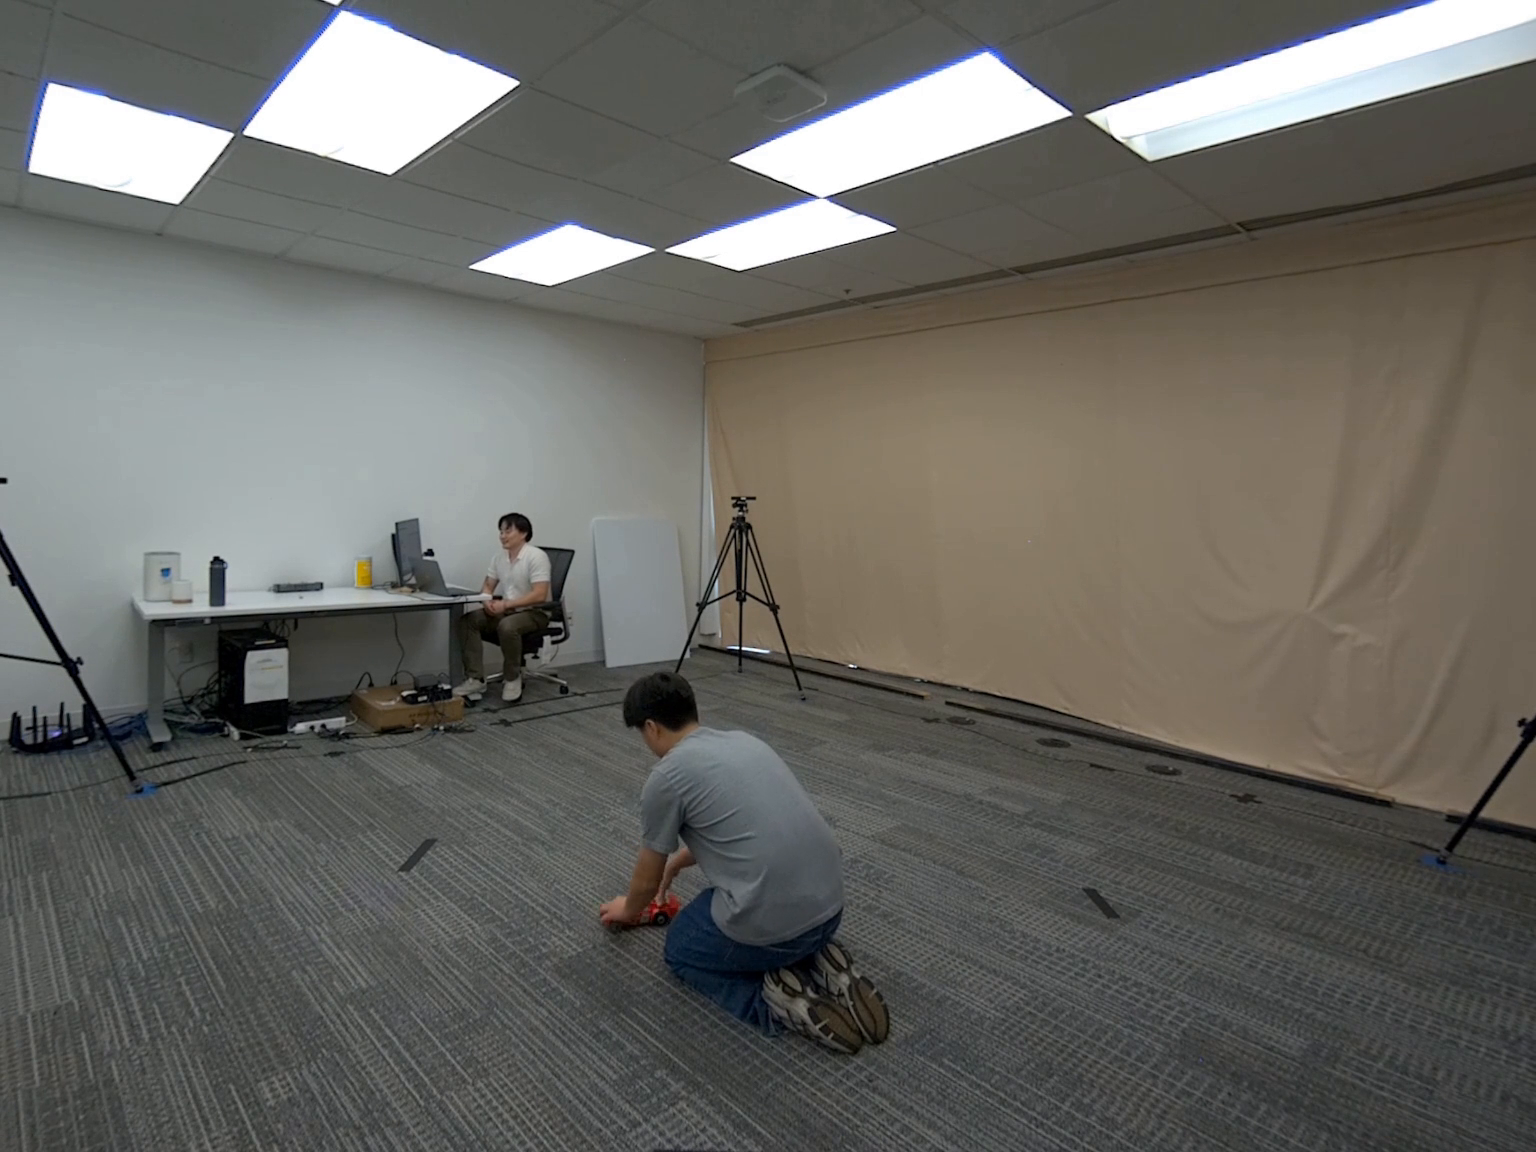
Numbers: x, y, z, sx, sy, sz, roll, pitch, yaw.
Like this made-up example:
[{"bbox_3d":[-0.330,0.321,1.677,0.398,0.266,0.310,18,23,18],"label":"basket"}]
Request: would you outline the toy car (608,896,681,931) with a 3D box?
[{"bbox_3d":[-0.417,1.103,2.759,0.252,0.083,0.132,-11,6,-14],"label":"toy car"}]
